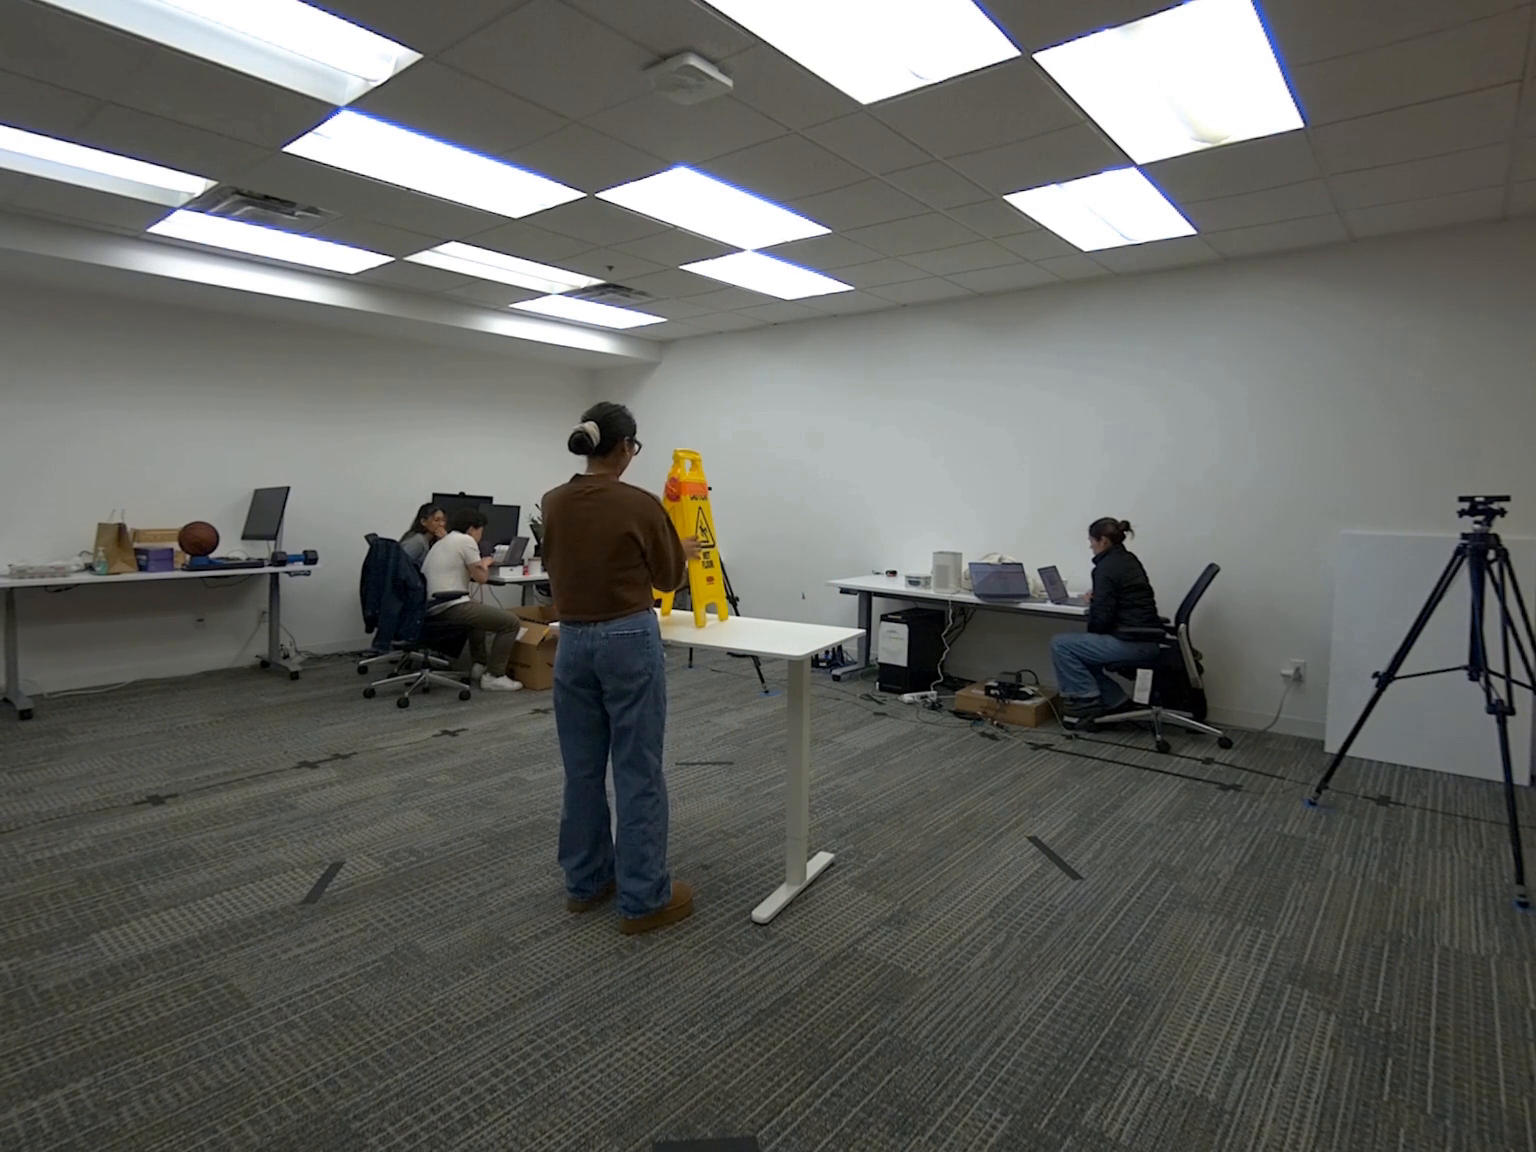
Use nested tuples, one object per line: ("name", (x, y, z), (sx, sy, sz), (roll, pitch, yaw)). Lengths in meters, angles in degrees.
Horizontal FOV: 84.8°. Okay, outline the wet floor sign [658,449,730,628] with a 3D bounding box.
("wet floor sign", (-0.329, -0.156, 3.238), (0.296, 0.645, 0.276), (2, 1, 21))
